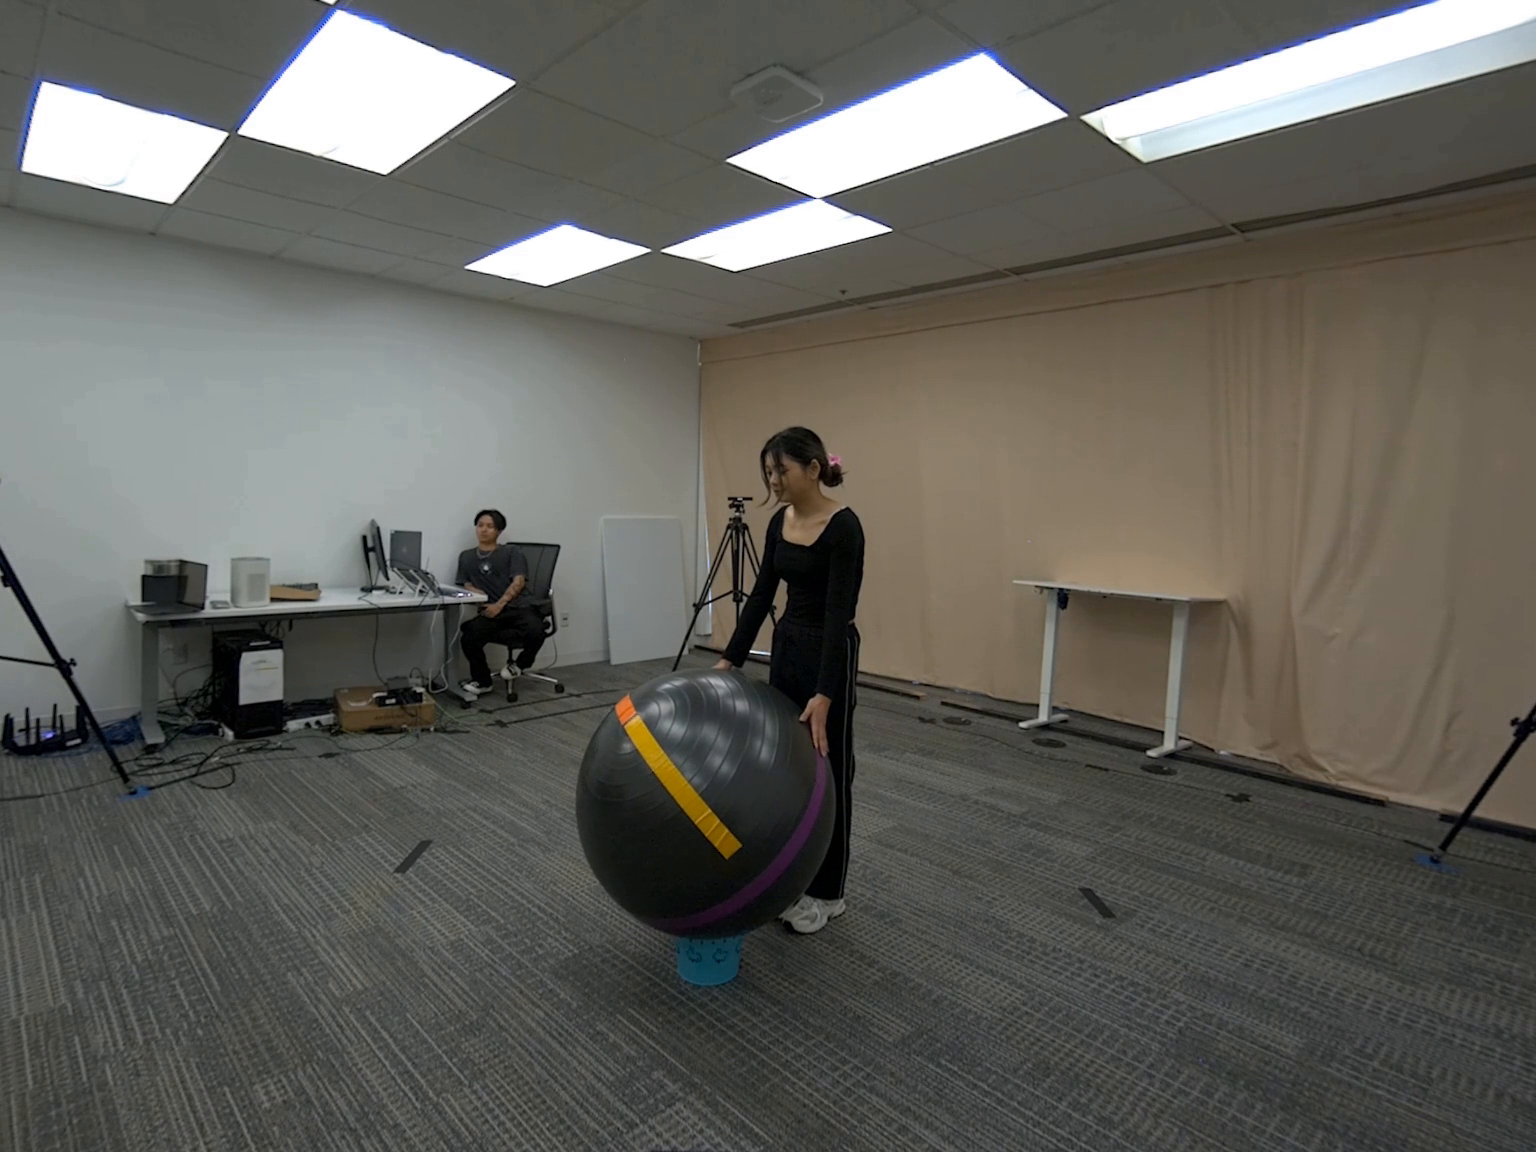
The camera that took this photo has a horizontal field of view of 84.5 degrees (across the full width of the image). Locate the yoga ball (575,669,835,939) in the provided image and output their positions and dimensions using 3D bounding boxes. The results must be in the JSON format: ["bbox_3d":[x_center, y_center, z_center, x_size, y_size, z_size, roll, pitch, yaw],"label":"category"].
[{"bbox_3d":[-0.189,0.655,2.460,0.757,0.756,0.761,1,4,-1],"label":"yoga ball"}]
